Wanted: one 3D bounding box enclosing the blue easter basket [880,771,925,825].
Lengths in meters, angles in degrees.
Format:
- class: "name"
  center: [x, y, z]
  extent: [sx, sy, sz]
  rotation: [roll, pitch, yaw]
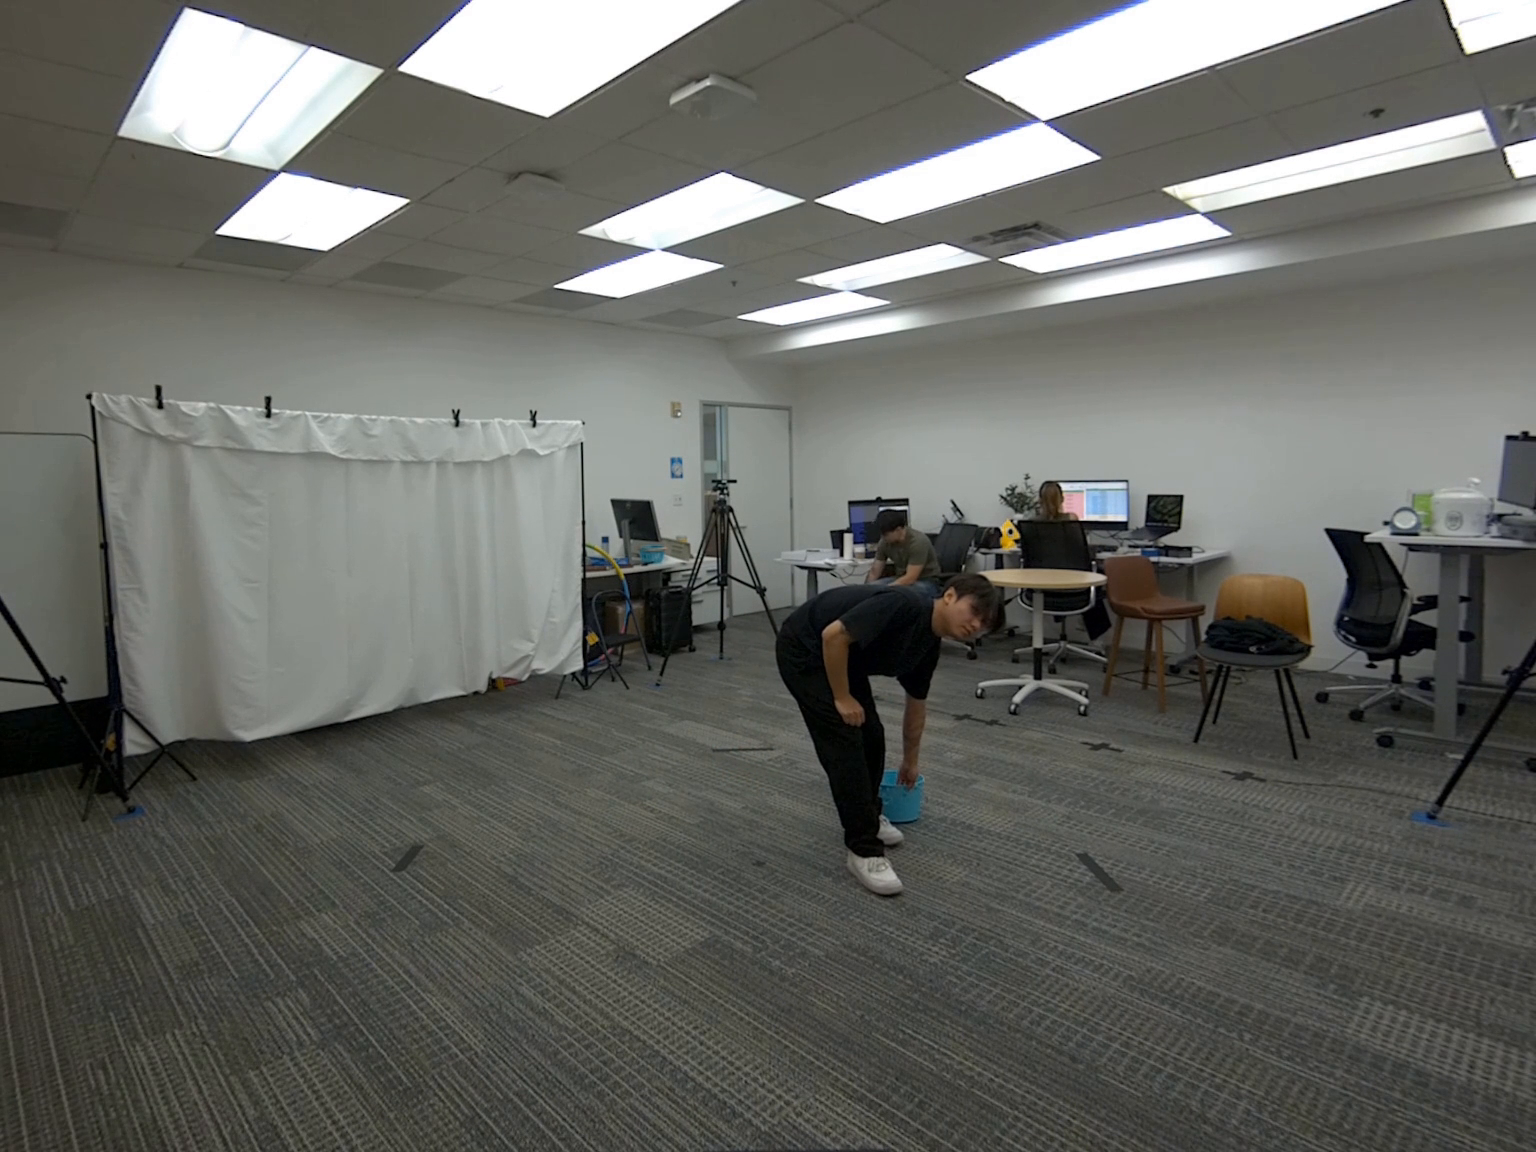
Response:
- class: "blue easter basket"
  center: [0.528, 0.911, 3.531]
  extent: [0.243, 0.156, 0.244]
  rotation: [-2, 2, -2]
